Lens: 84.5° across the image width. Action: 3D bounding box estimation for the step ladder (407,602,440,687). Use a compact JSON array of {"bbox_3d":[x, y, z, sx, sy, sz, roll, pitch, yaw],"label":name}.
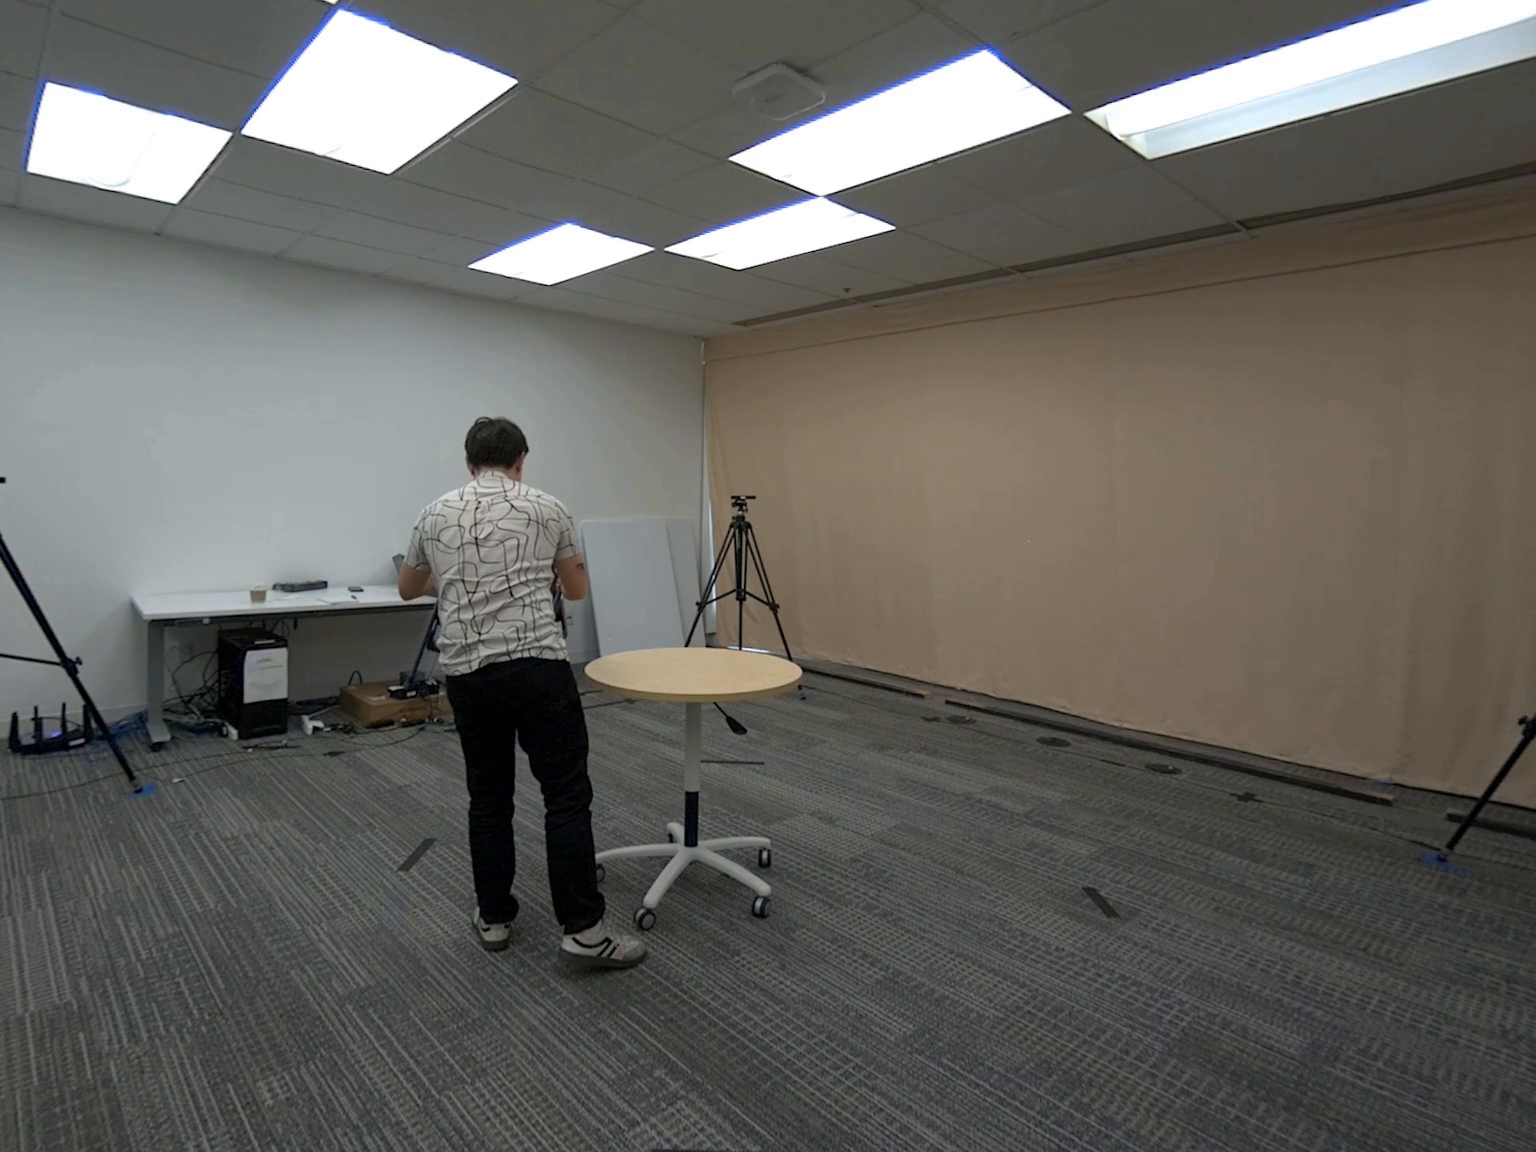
[{"bbox_3d":[-0.980,0.126,3.044,0.424,0.603,0.356,19,13,-16],"label":"step ladder"}]
